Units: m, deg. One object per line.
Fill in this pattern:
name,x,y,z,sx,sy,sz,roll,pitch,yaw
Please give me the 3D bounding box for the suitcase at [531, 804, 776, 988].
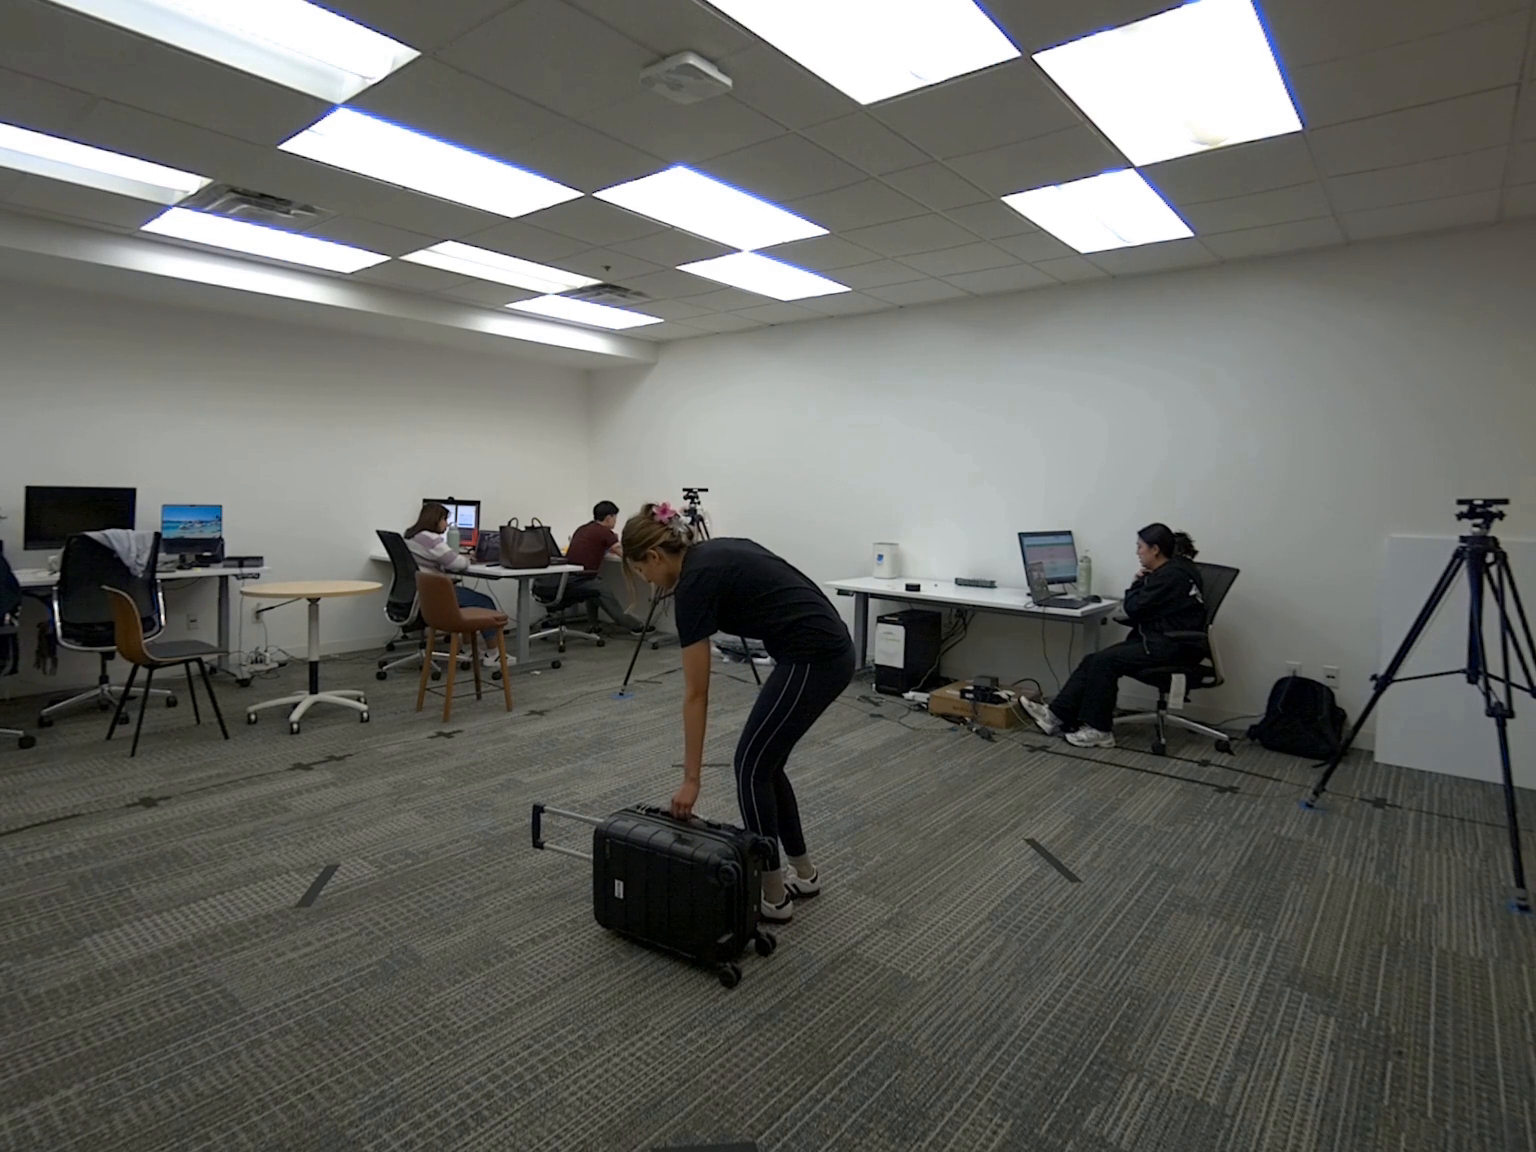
suitcase,-0.463,0.917,2.700,1.008,0.383,0.250,4,5,31
